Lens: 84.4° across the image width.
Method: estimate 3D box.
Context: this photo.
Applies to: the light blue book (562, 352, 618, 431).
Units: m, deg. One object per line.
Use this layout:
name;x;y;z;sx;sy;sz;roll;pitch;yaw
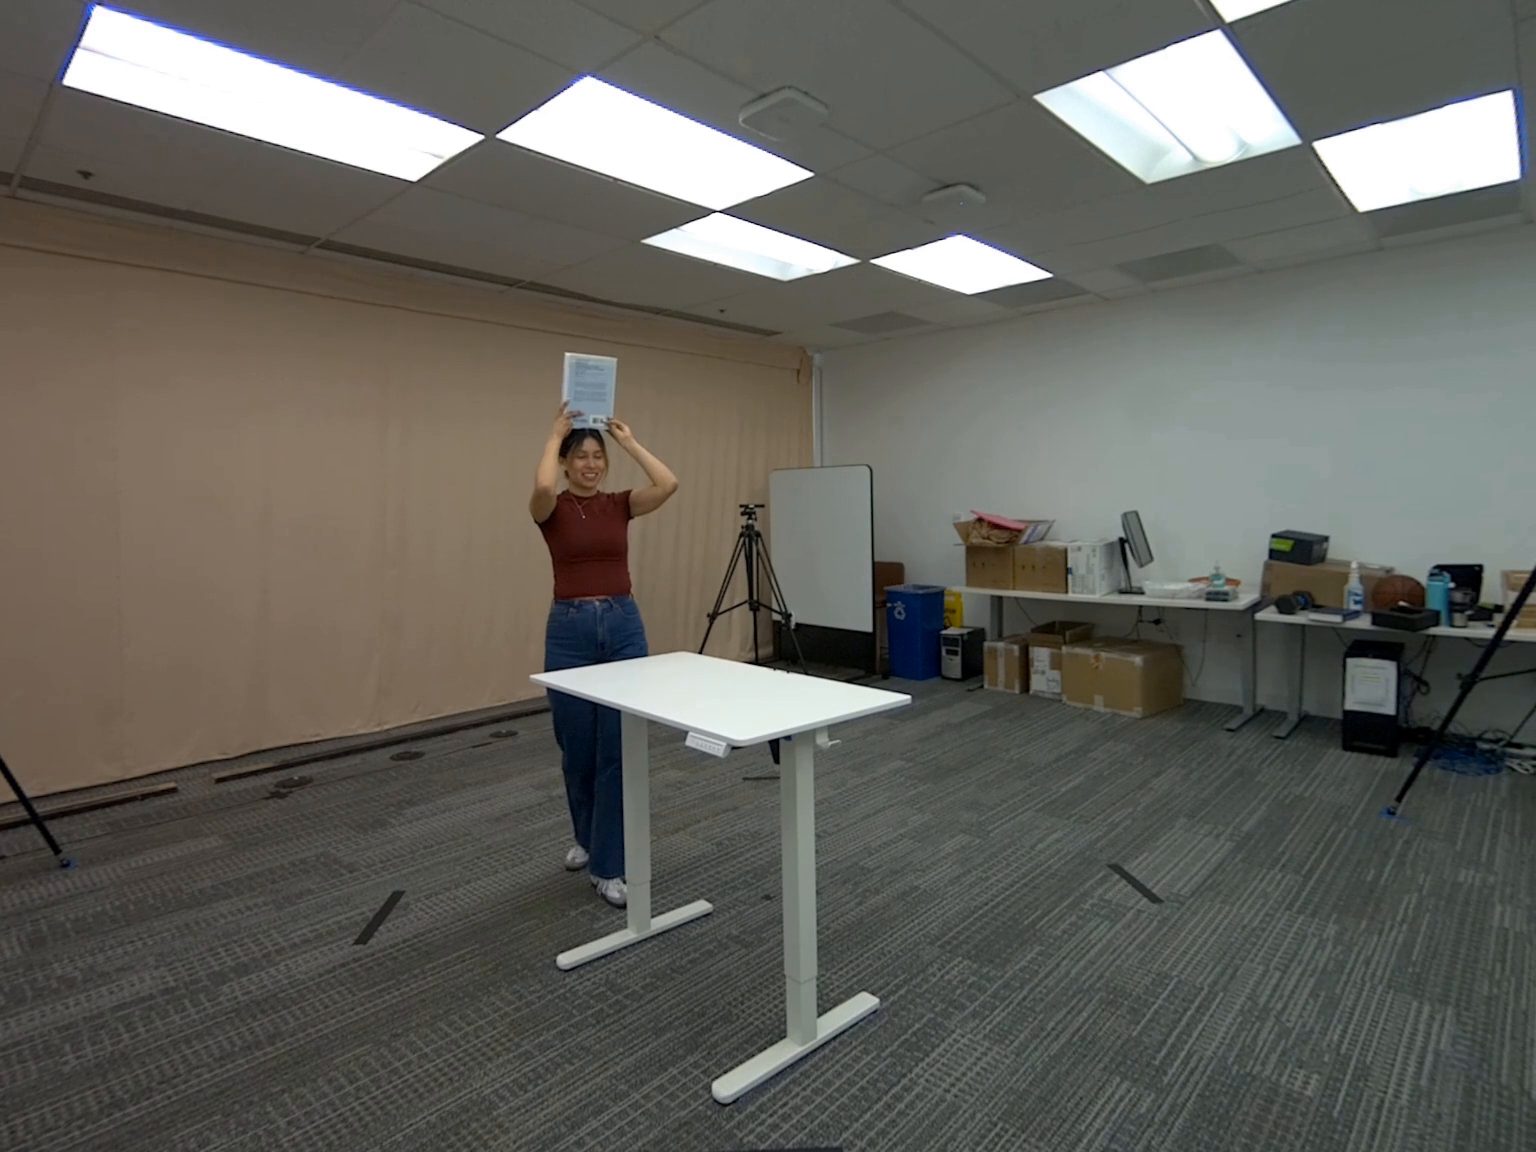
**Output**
light blue book;-0.661;-0.674;3.081;0.186;0.259;0.061;-2;14;-34
